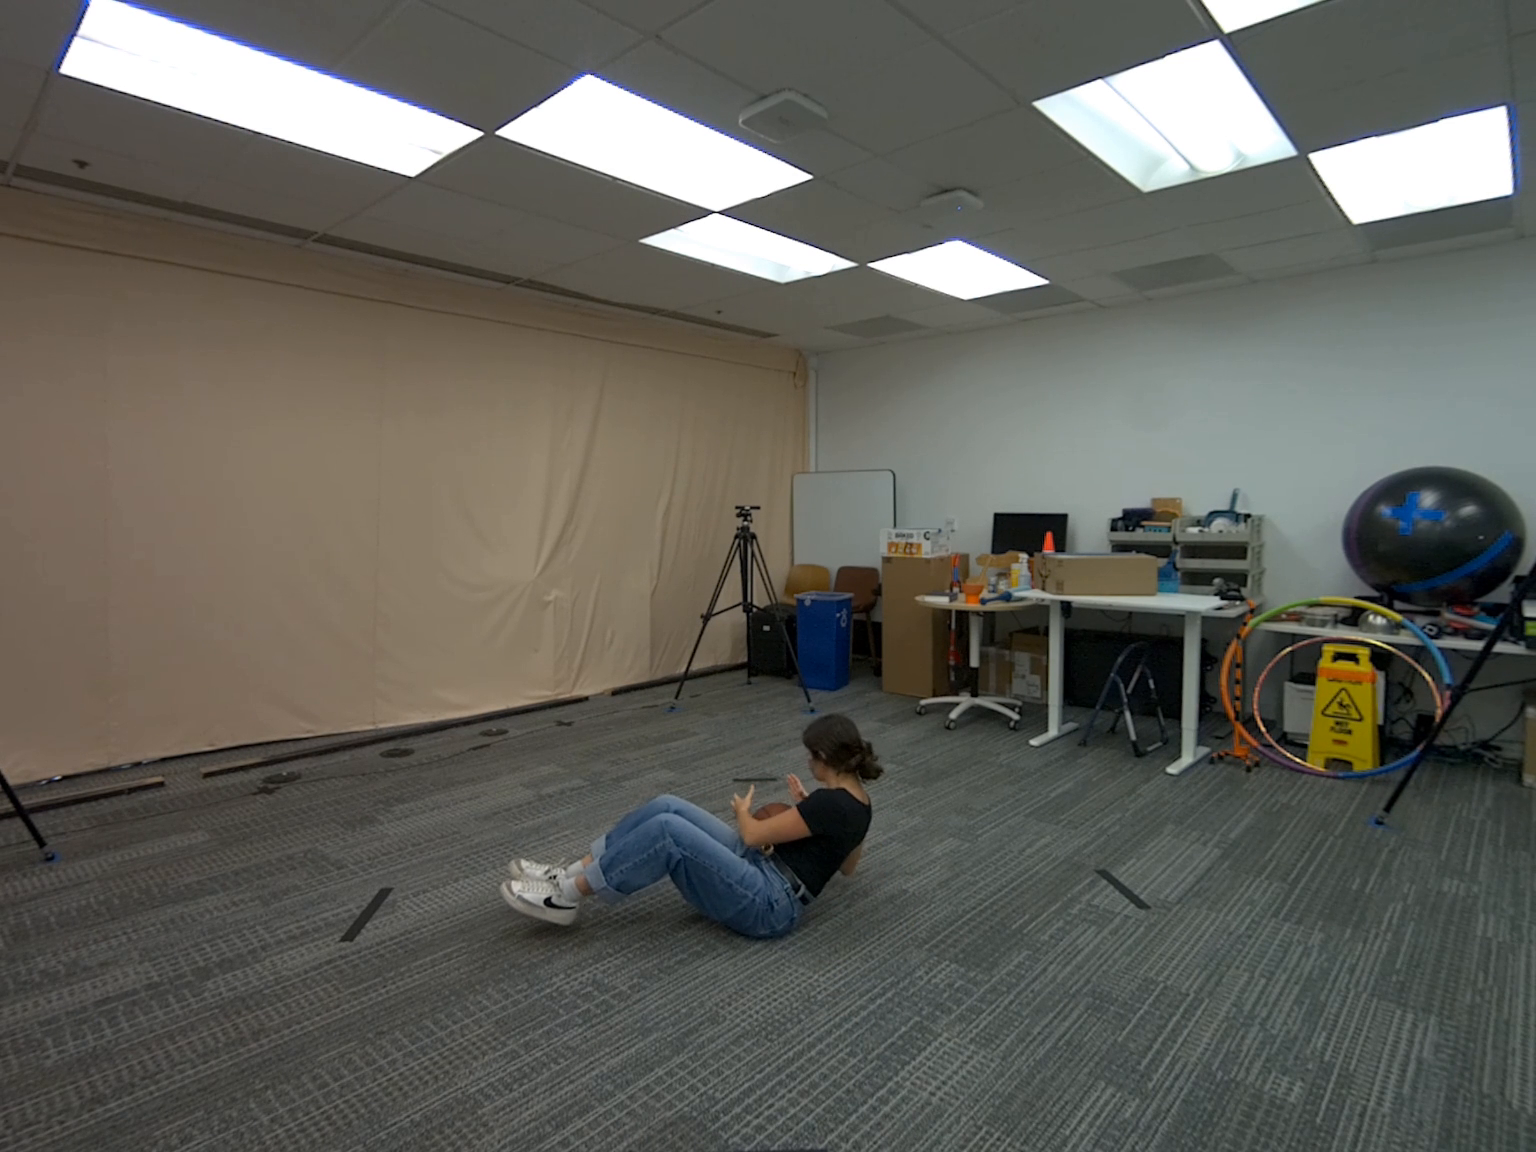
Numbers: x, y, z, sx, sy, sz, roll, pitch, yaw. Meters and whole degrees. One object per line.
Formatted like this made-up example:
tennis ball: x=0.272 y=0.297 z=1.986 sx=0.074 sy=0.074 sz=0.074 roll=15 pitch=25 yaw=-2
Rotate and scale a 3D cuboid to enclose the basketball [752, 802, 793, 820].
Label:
basketball: x=0.037 y=0.995 z=3.255 sx=0.236 sy=0.235 sz=0.237 roll=0 pitch=4 yaw=-2
